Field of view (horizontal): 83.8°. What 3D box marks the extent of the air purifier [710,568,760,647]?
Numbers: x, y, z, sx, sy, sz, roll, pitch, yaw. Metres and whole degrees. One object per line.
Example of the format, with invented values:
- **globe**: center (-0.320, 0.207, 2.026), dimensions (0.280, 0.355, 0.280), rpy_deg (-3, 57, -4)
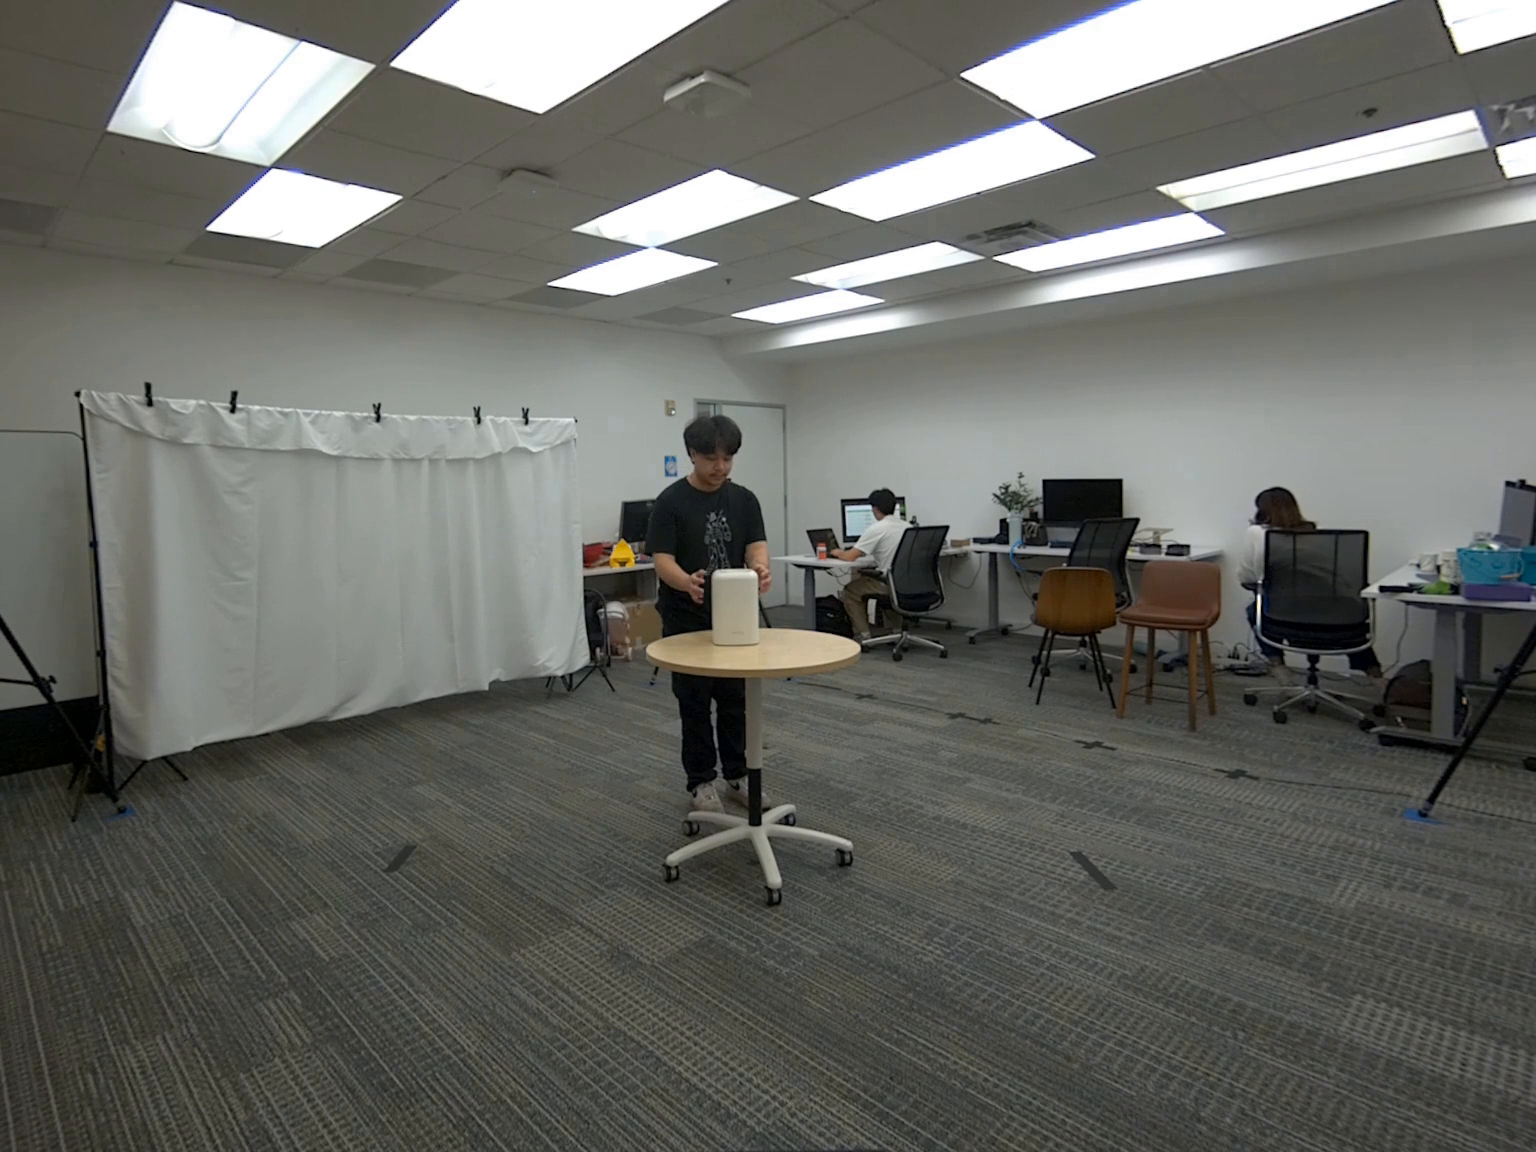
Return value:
- **air purifier**: center (-0.121, 0.116, 3.161), dimensions (0.171, 0.264, 0.172), rpy_deg (-1, 5, 0)
